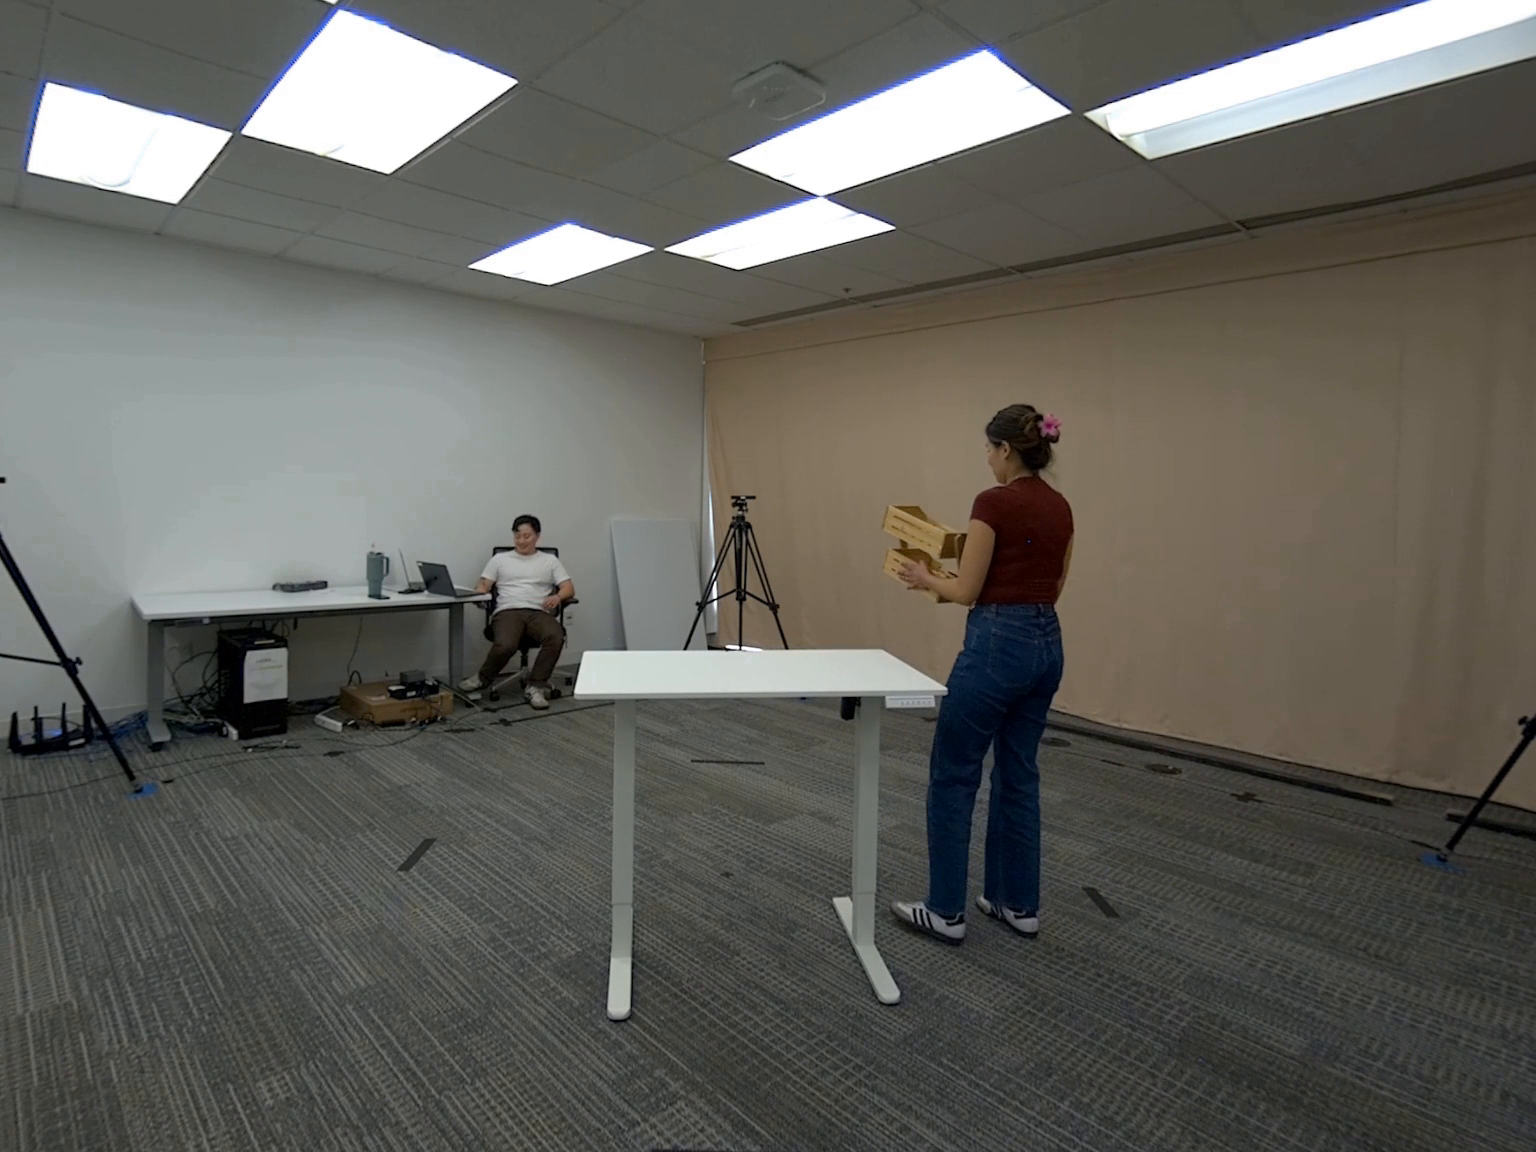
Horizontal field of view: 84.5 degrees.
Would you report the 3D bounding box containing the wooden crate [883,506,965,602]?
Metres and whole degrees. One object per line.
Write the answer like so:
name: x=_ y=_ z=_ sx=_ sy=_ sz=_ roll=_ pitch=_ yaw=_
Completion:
wooden crate: x=0.605 y=-0.088 z=3.035 sx=0.296 sy=0.270 sz=0.335 roll=-1 pitch=22 yaw=-33
